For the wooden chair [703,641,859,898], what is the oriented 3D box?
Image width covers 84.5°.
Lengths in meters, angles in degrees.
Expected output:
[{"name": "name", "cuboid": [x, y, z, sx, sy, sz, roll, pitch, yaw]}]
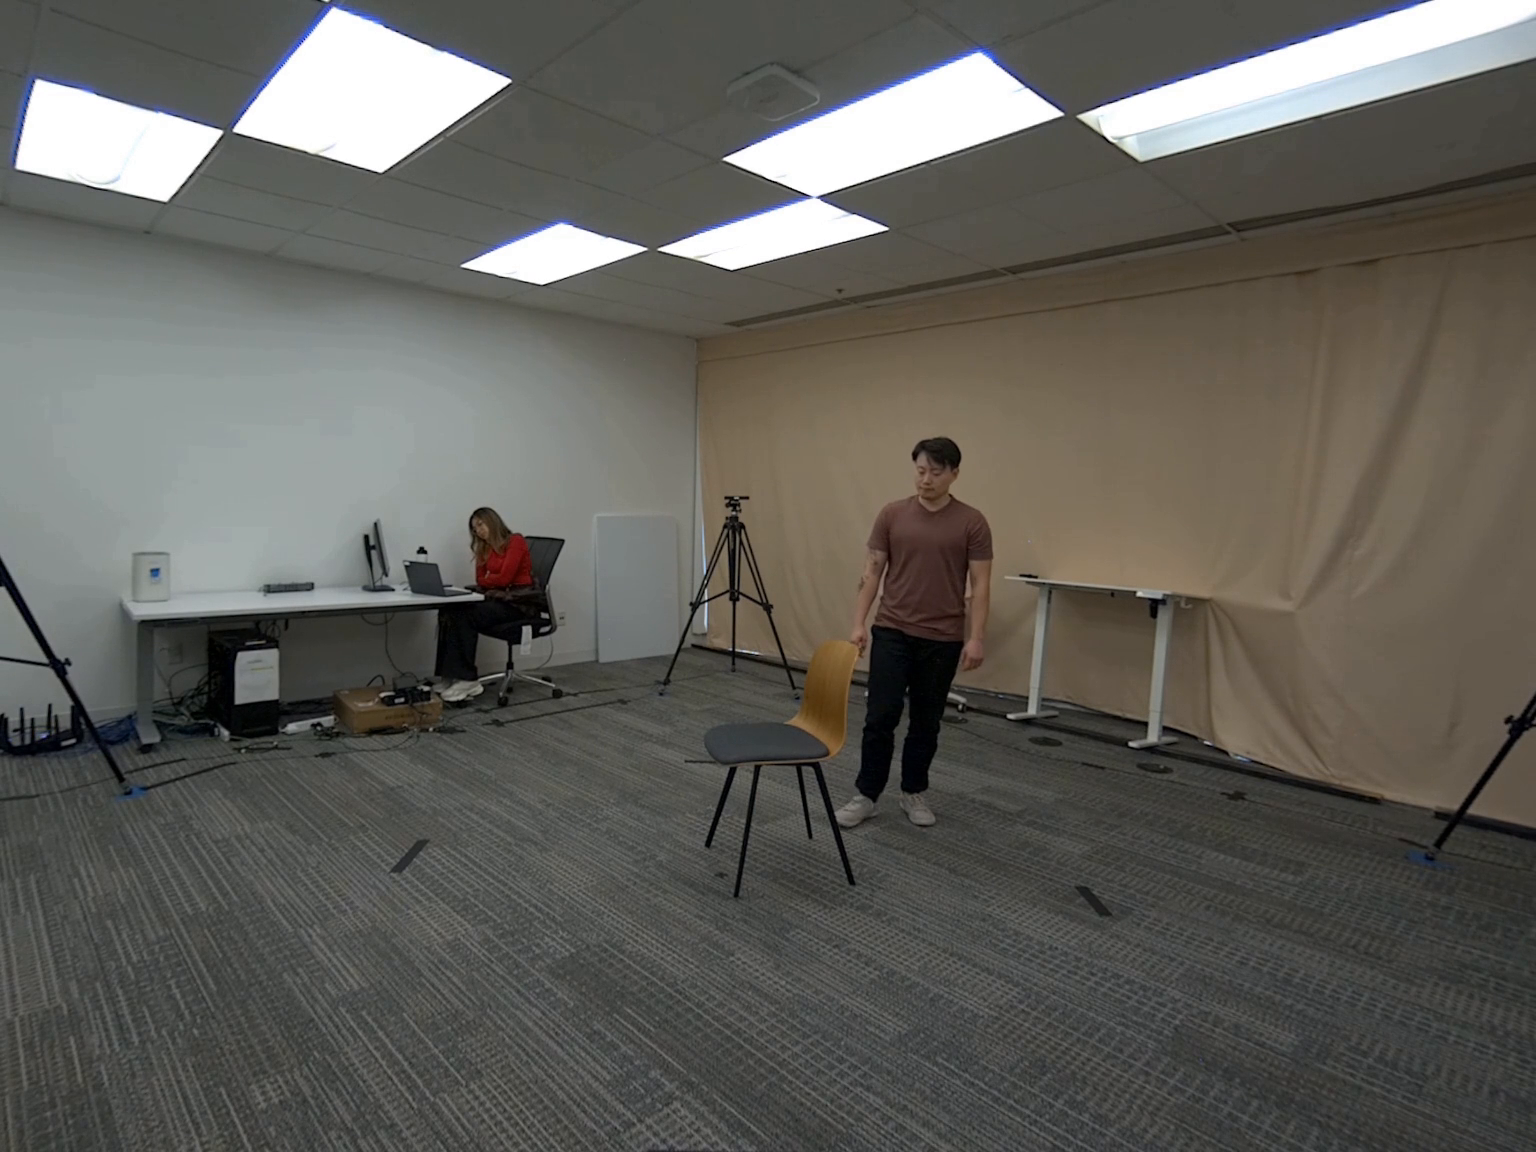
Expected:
[{"name": "wooden chair", "cuboid": [0.032, 0.677, 3.167, 0.516, 0.876, 0.485, 4, 2, -17]}]
